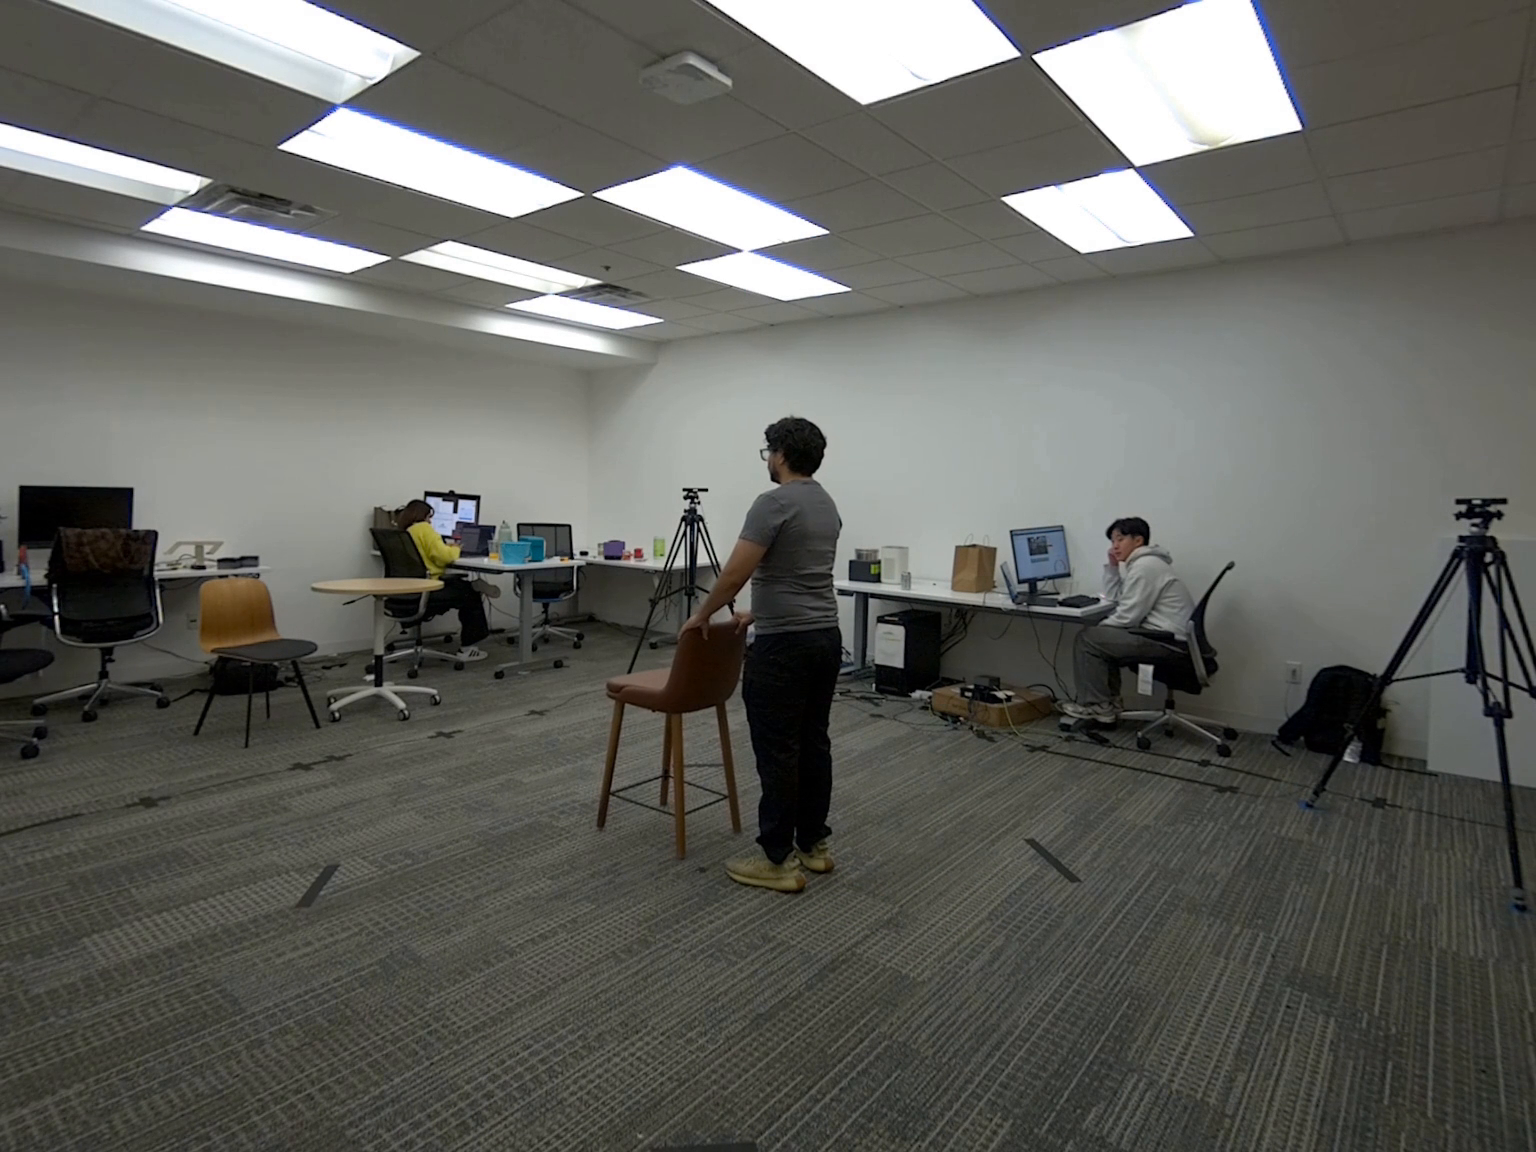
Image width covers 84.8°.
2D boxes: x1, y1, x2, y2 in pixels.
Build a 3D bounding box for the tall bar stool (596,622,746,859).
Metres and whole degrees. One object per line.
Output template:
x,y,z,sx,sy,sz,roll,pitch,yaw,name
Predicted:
-0.385,0.592,3.447,0.483,0.887,0.442,6,4,37,tall bar stool
